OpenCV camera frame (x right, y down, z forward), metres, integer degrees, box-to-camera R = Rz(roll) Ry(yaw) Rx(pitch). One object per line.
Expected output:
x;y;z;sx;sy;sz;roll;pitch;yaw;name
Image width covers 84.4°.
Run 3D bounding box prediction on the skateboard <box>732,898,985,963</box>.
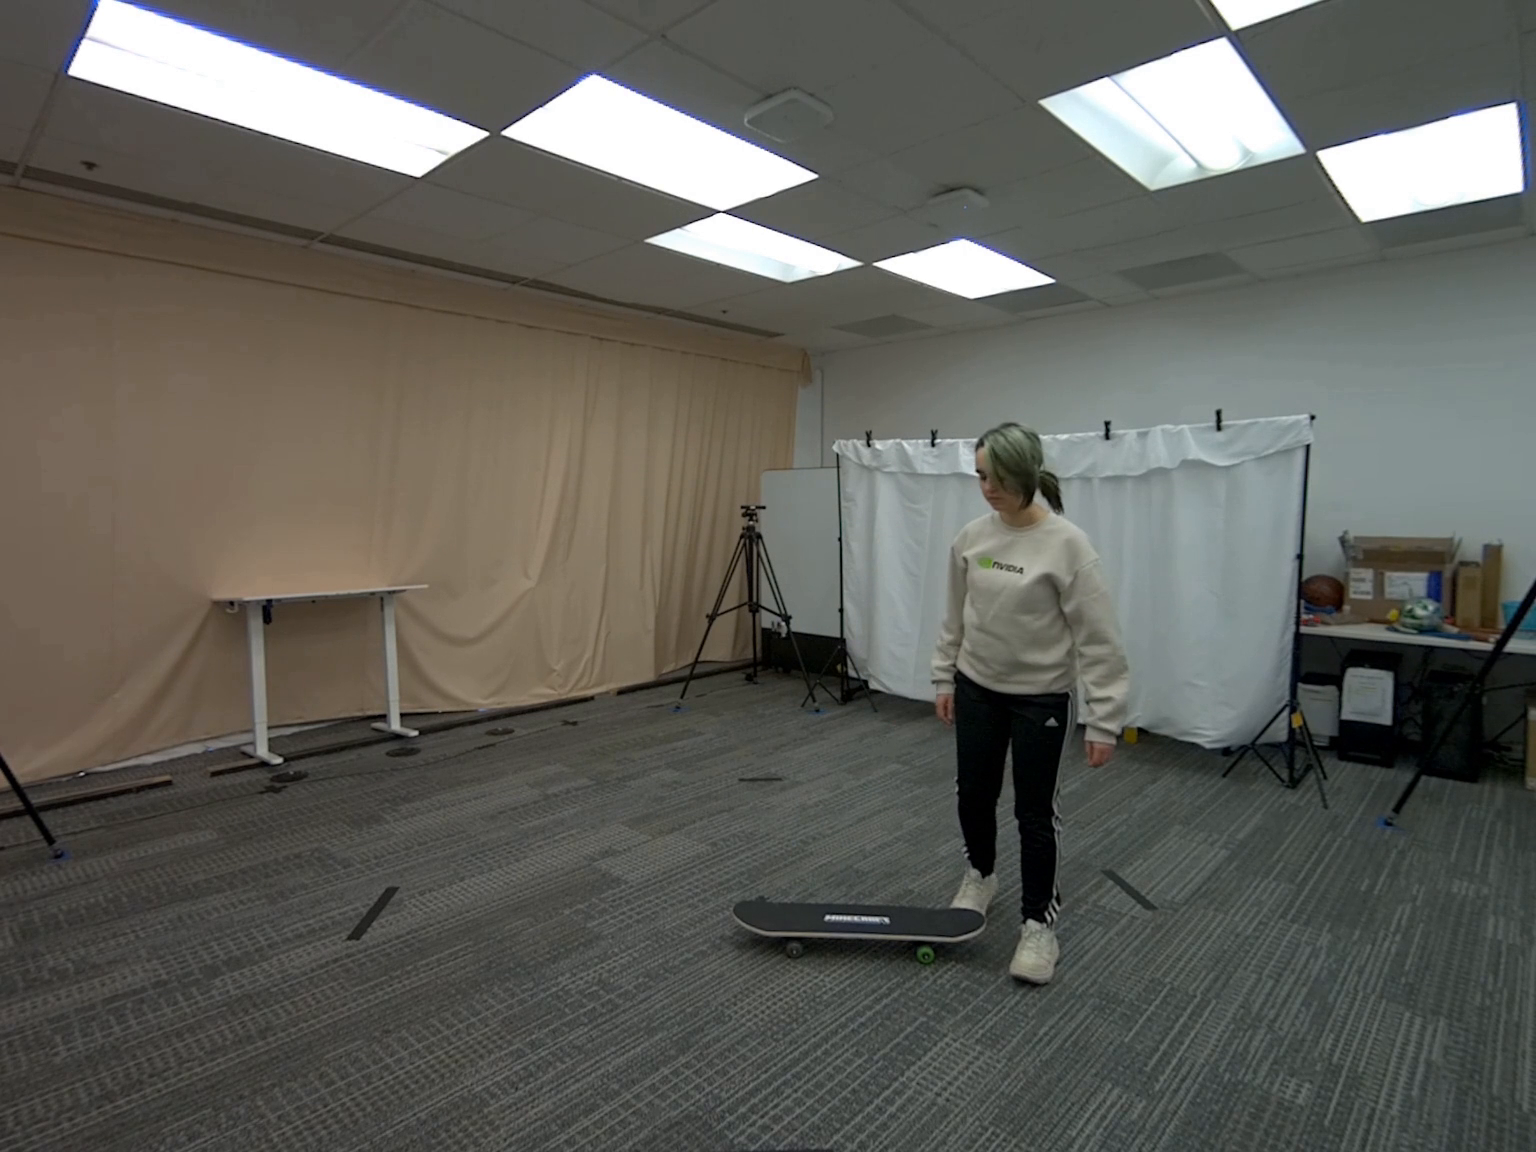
0.284;1.116;2.648;0.789;0.110;0.193;0;5;4;skateboard
